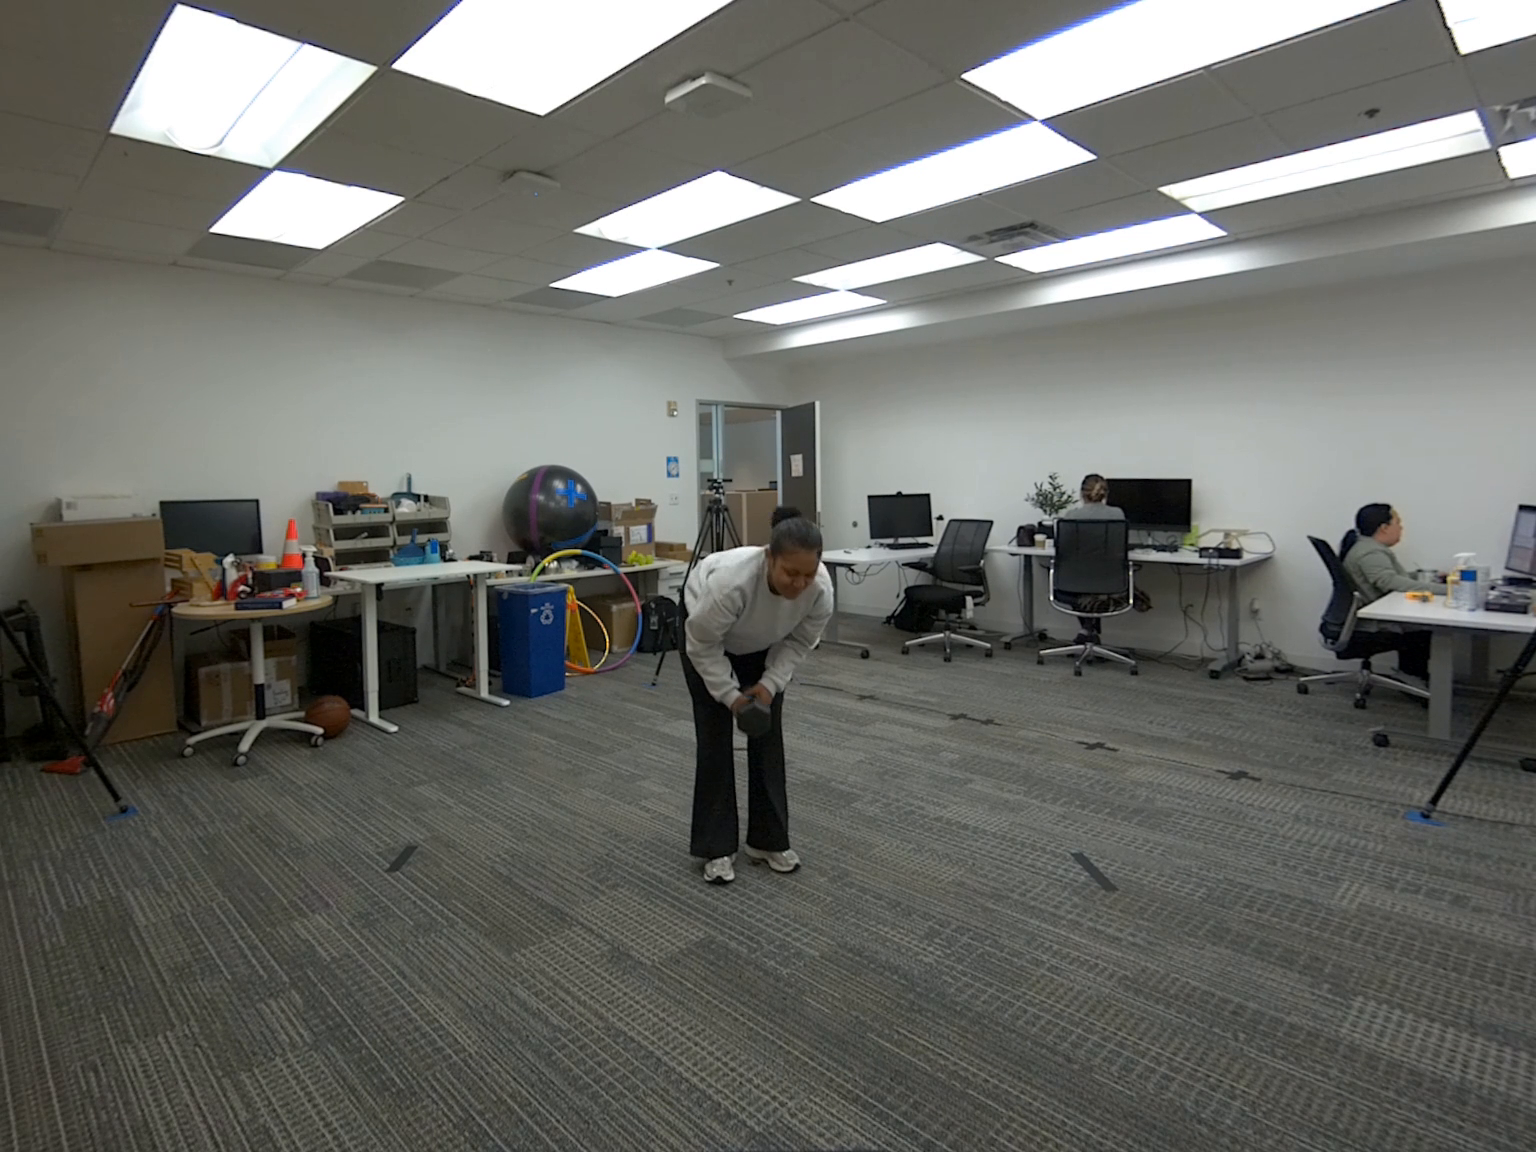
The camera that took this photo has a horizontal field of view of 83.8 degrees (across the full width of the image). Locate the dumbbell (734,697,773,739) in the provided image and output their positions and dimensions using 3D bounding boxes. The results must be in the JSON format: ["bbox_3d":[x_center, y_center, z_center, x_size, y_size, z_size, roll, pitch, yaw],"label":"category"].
[{"bbox_3d":[-0.045,0.479,2.884,0.123,0.109,0.292,37,-4,1],"label":"dumbbell"}]
